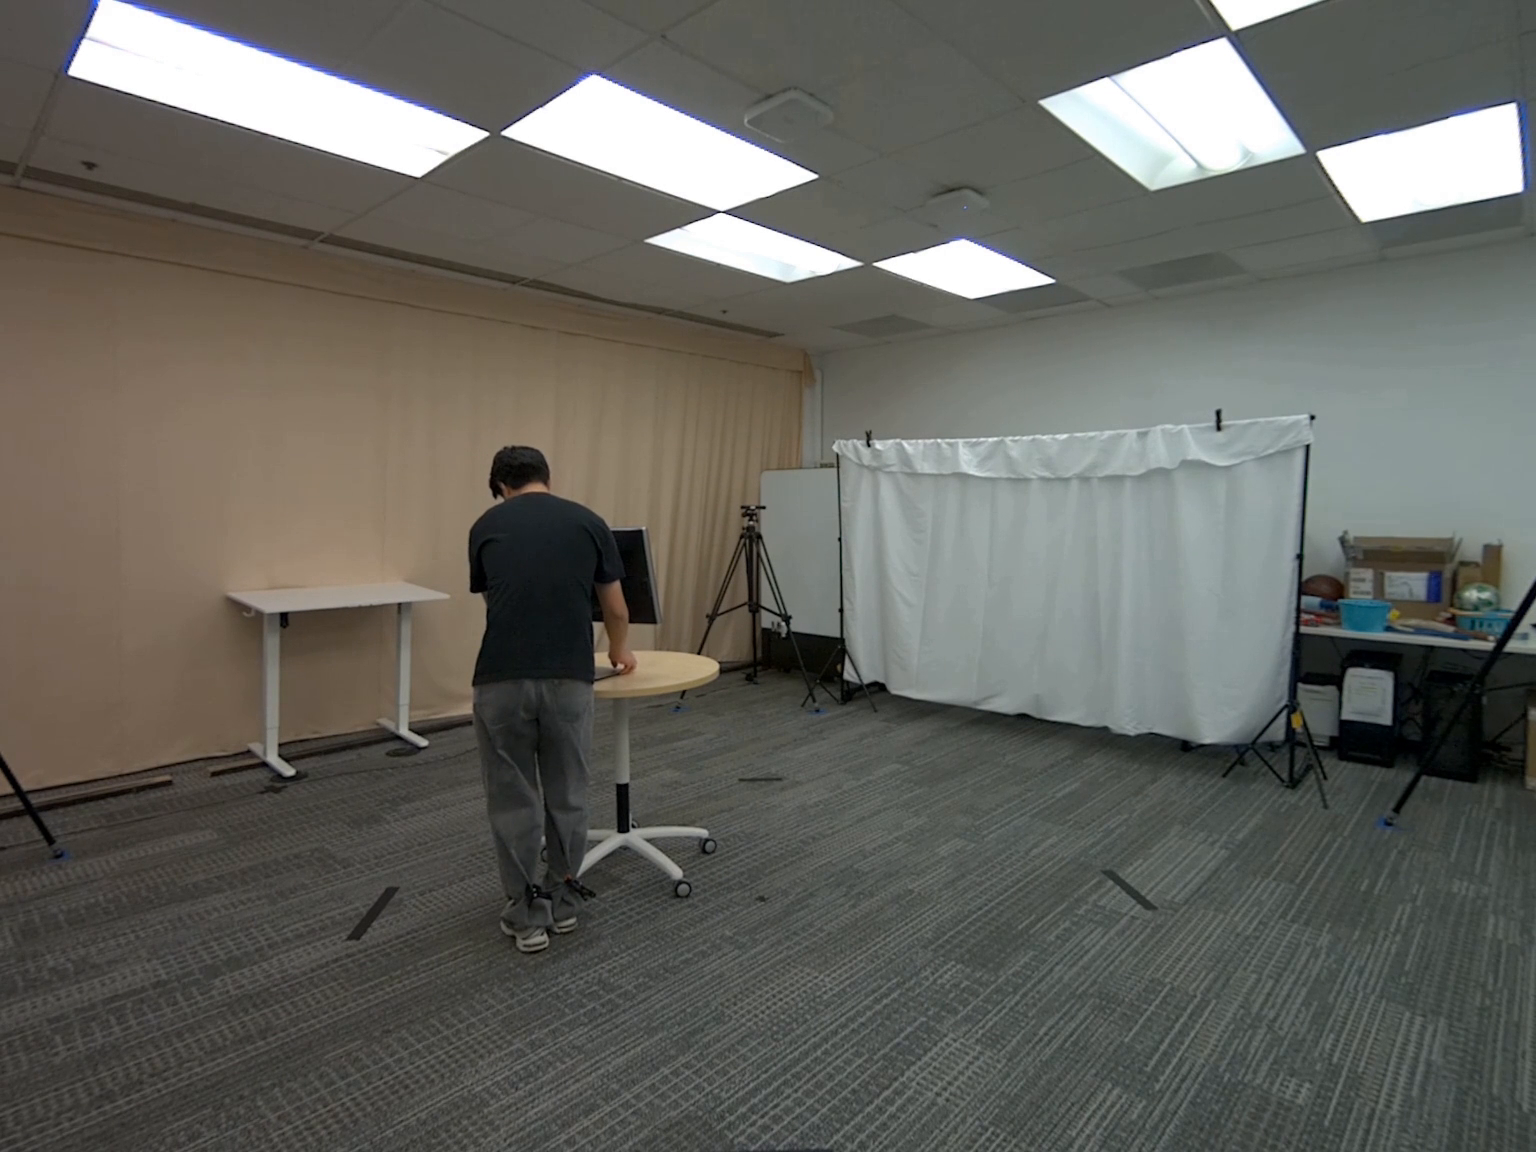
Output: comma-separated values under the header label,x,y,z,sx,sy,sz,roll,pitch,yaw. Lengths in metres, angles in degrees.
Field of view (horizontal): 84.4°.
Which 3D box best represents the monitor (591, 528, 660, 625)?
label,x,y,z,sx,sy,sz,roll,pitch,yaw
monitor,-0.679,0.101,3.114,0.578,0.565,0.216,1,1,30
